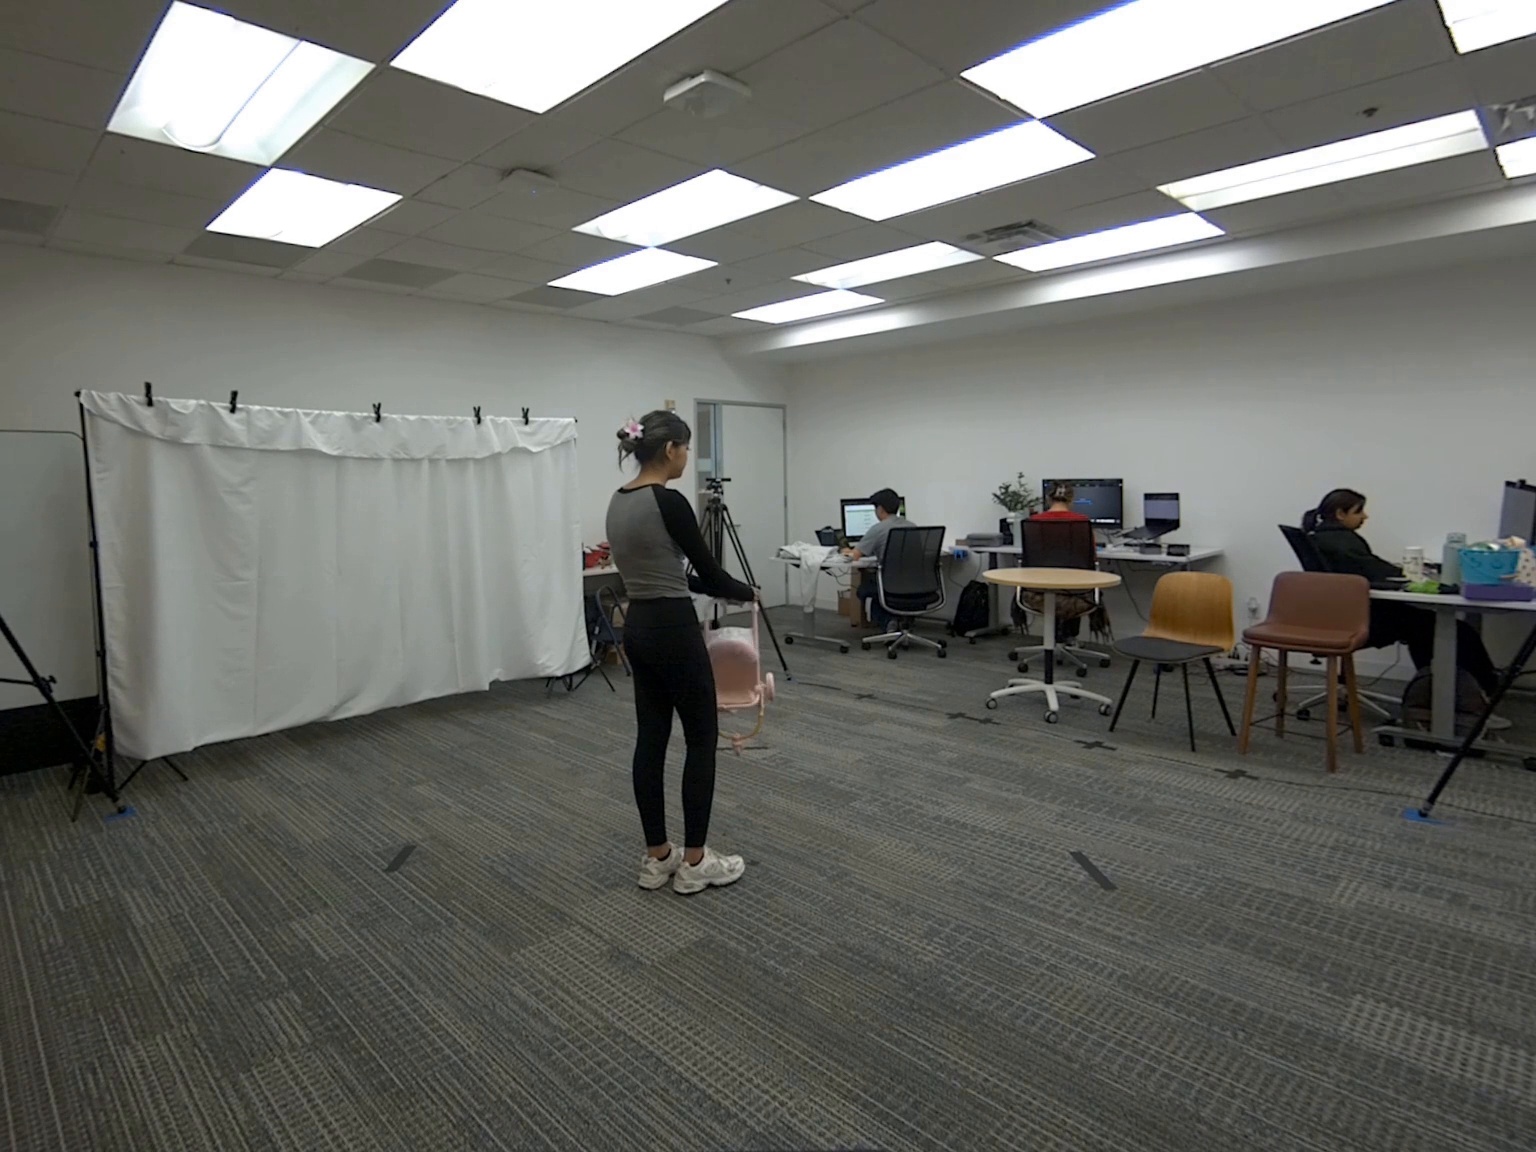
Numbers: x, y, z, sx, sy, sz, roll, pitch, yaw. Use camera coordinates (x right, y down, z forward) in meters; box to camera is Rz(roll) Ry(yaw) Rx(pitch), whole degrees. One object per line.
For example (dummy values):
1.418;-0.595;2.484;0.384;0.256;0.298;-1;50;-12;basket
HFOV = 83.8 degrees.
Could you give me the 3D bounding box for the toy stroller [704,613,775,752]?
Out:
-0.128;0.394;3.253;0.284;0.521;0.348;-1;33;7;toy stroller
